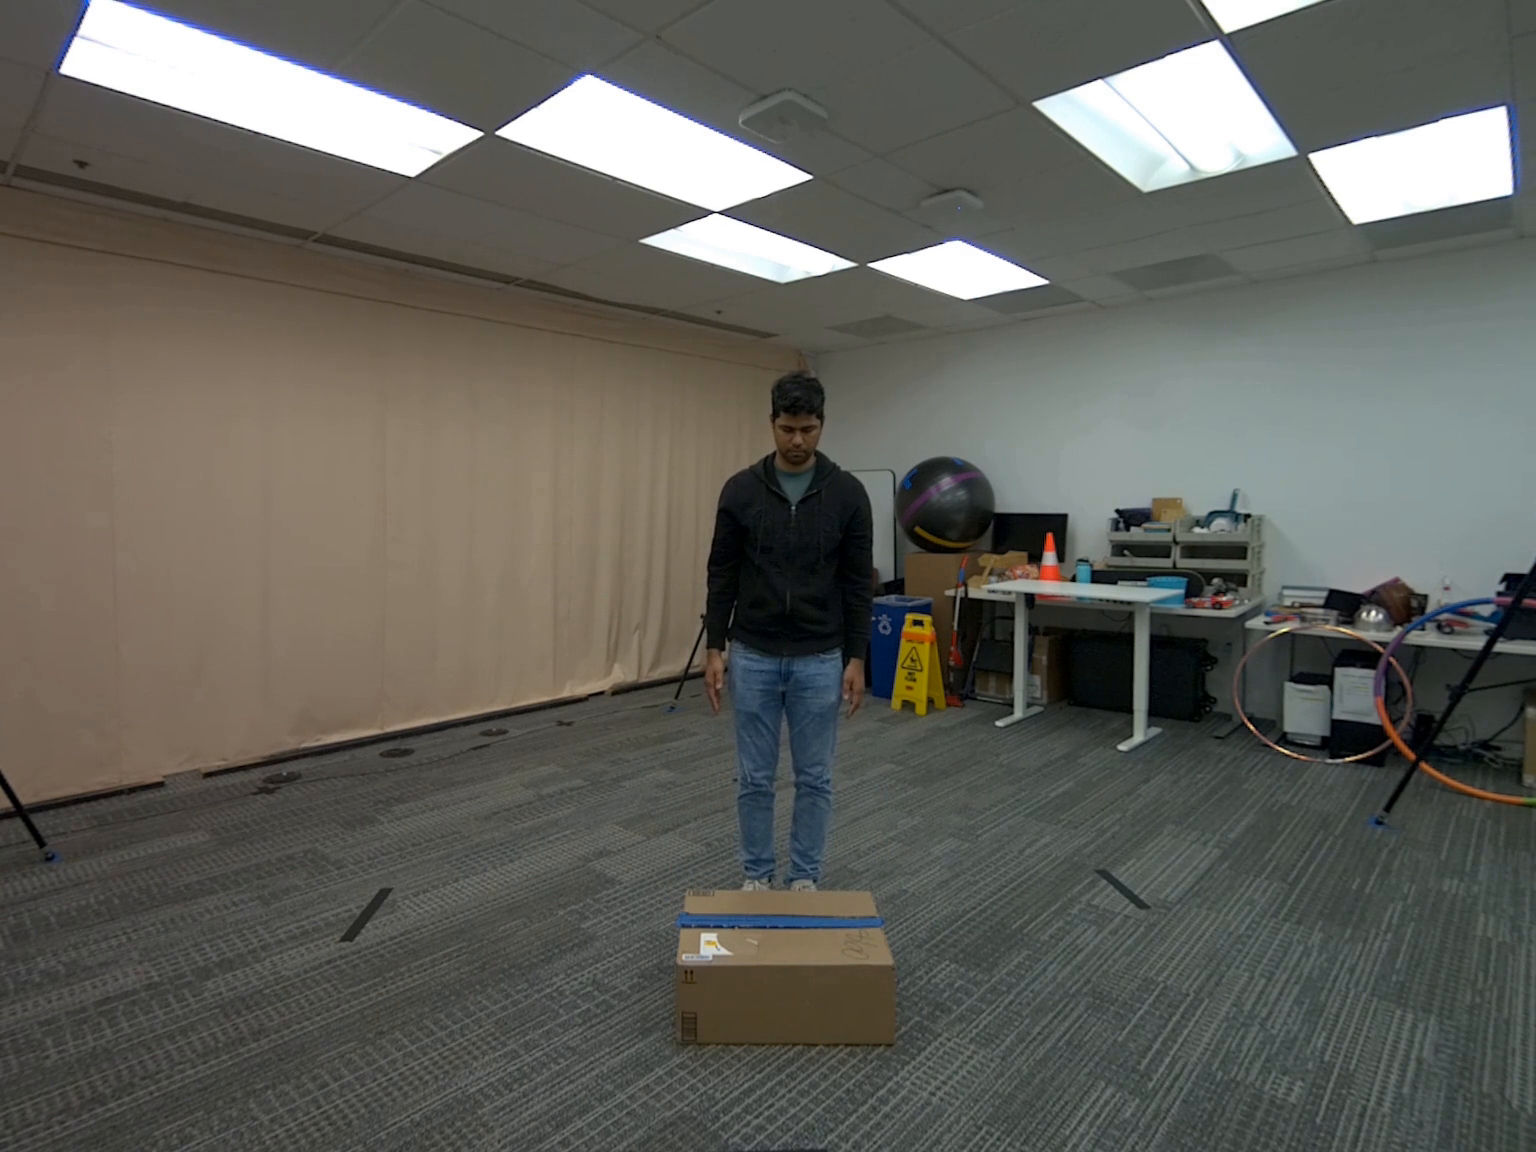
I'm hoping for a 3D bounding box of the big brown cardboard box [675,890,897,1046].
[{"bbox_3d":[0.037,1.083,2.371,0.589,0.232,0.418,1,4,-1],"label":"big brown cardboard box"}]
